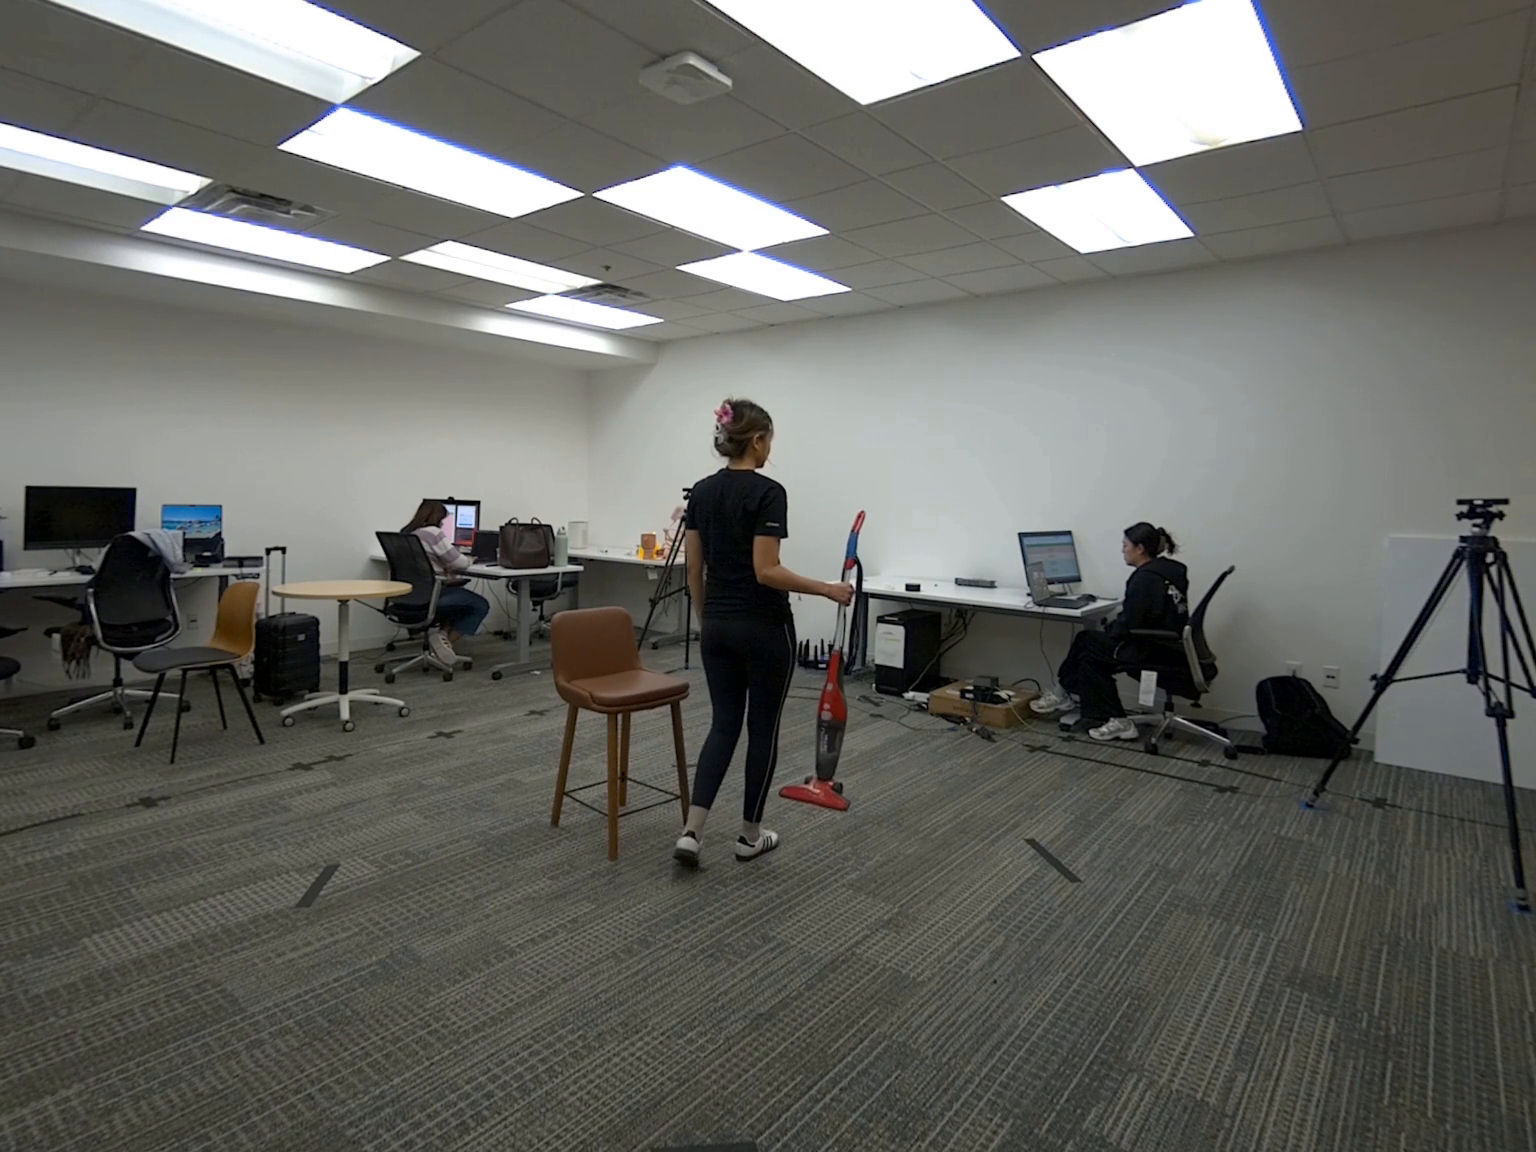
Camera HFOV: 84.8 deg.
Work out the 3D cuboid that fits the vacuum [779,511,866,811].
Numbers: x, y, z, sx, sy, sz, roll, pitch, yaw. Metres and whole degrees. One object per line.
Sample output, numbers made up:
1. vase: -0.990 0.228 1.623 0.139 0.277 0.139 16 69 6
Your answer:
1. vacuum: 0.268 0.278 3.114 0.260 1.058 0.139 5 -12 28
